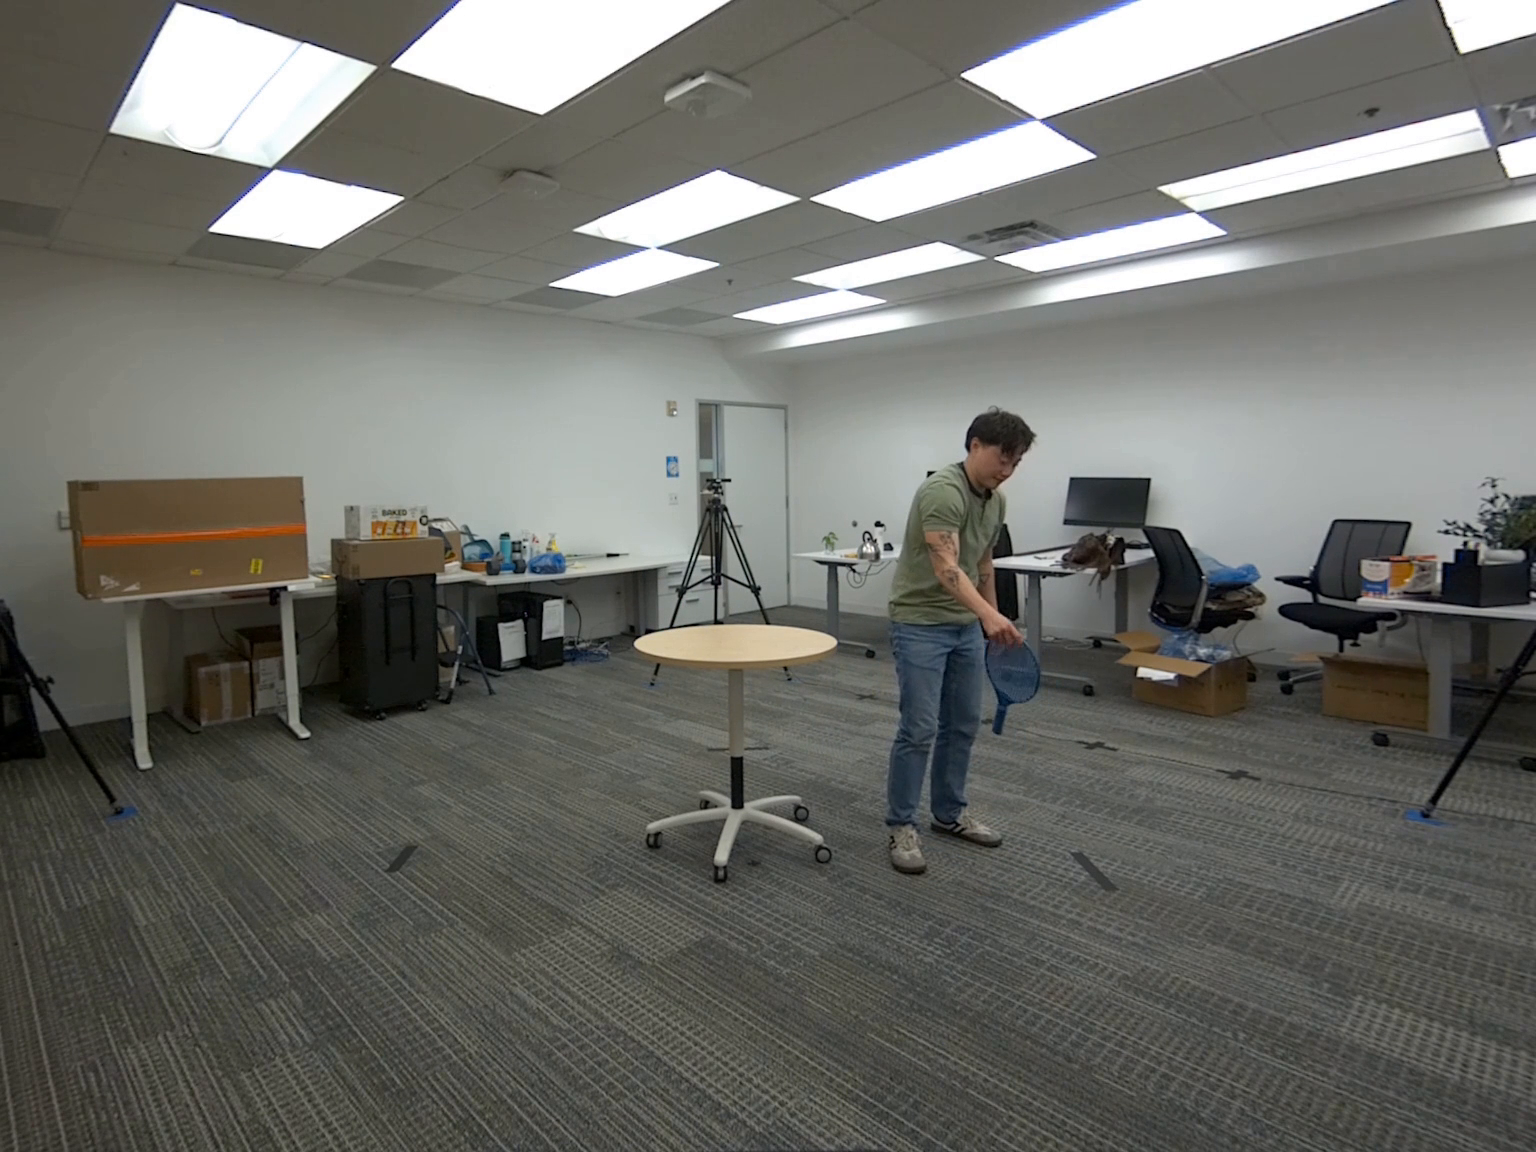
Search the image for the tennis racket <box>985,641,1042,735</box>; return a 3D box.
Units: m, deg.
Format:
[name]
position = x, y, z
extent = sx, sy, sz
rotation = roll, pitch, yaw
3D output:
[tennis racket]
position = 0.776, 0.362, 2.801
extent = 0.031, 0.422, 0.222
rotation = -23, 42, -29
